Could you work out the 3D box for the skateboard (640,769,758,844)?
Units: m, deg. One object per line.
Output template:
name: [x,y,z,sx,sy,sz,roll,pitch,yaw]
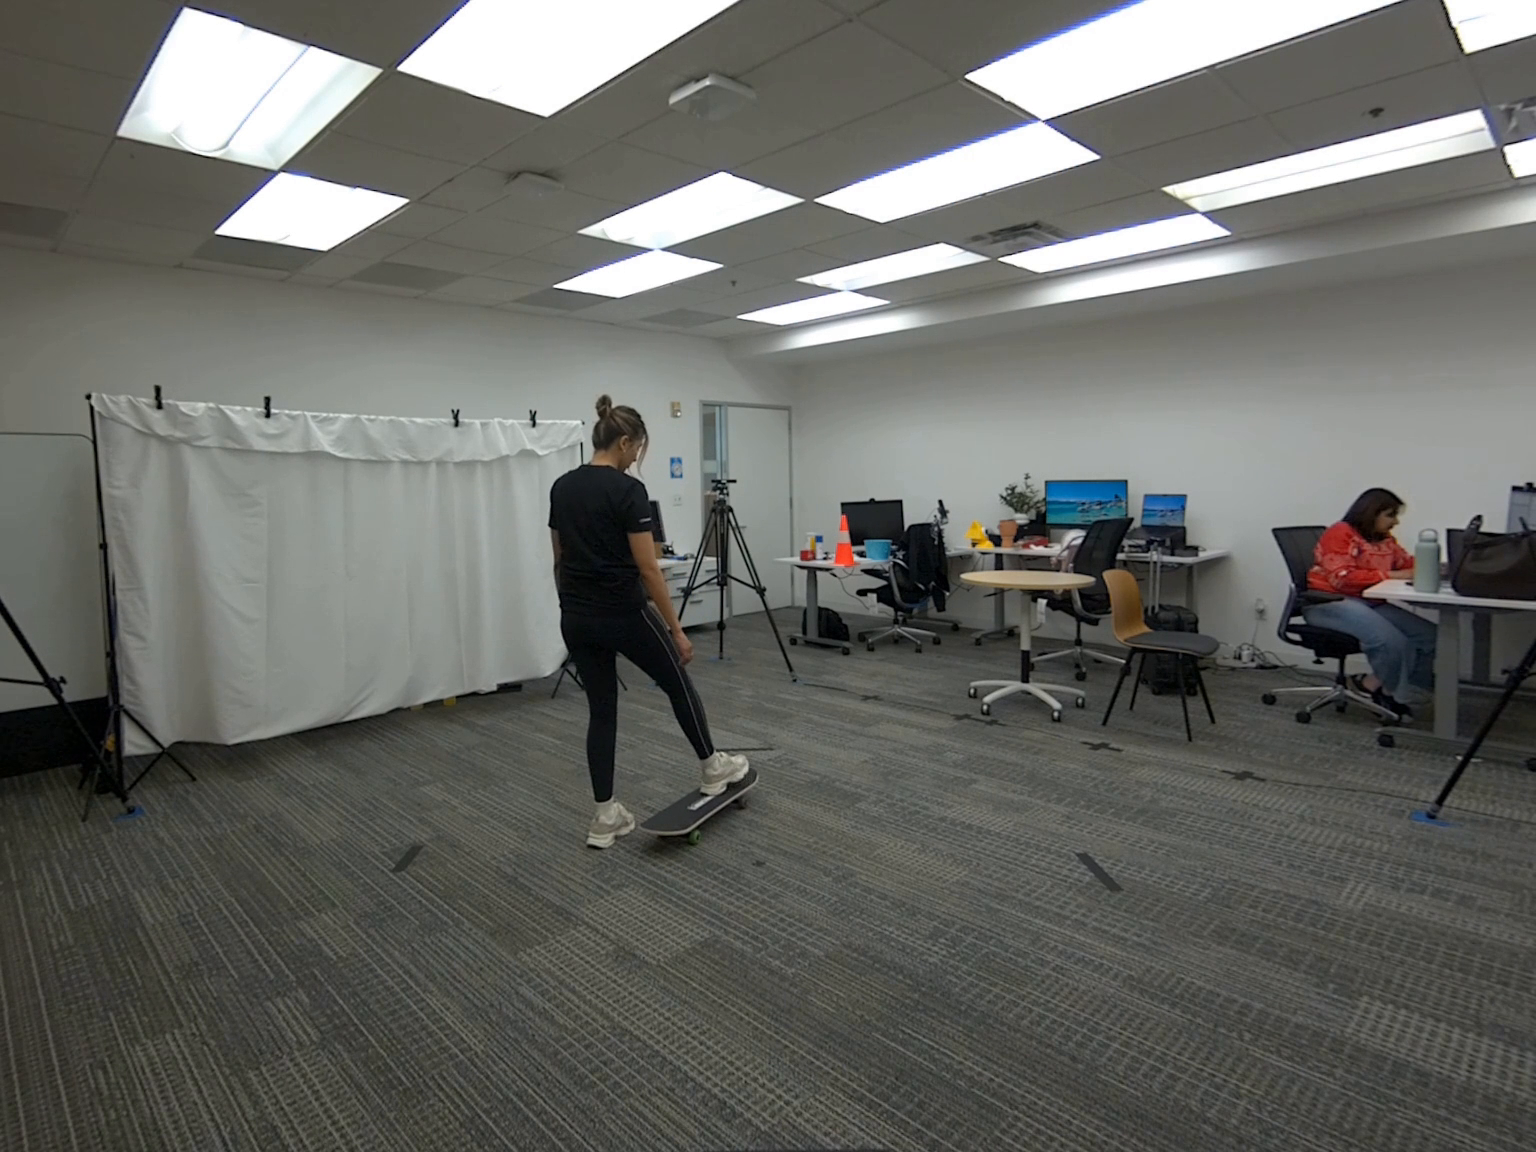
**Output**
skateboard: [-0.265,0.955,3.493,0.198,0.110,0.770,1,6,26]
